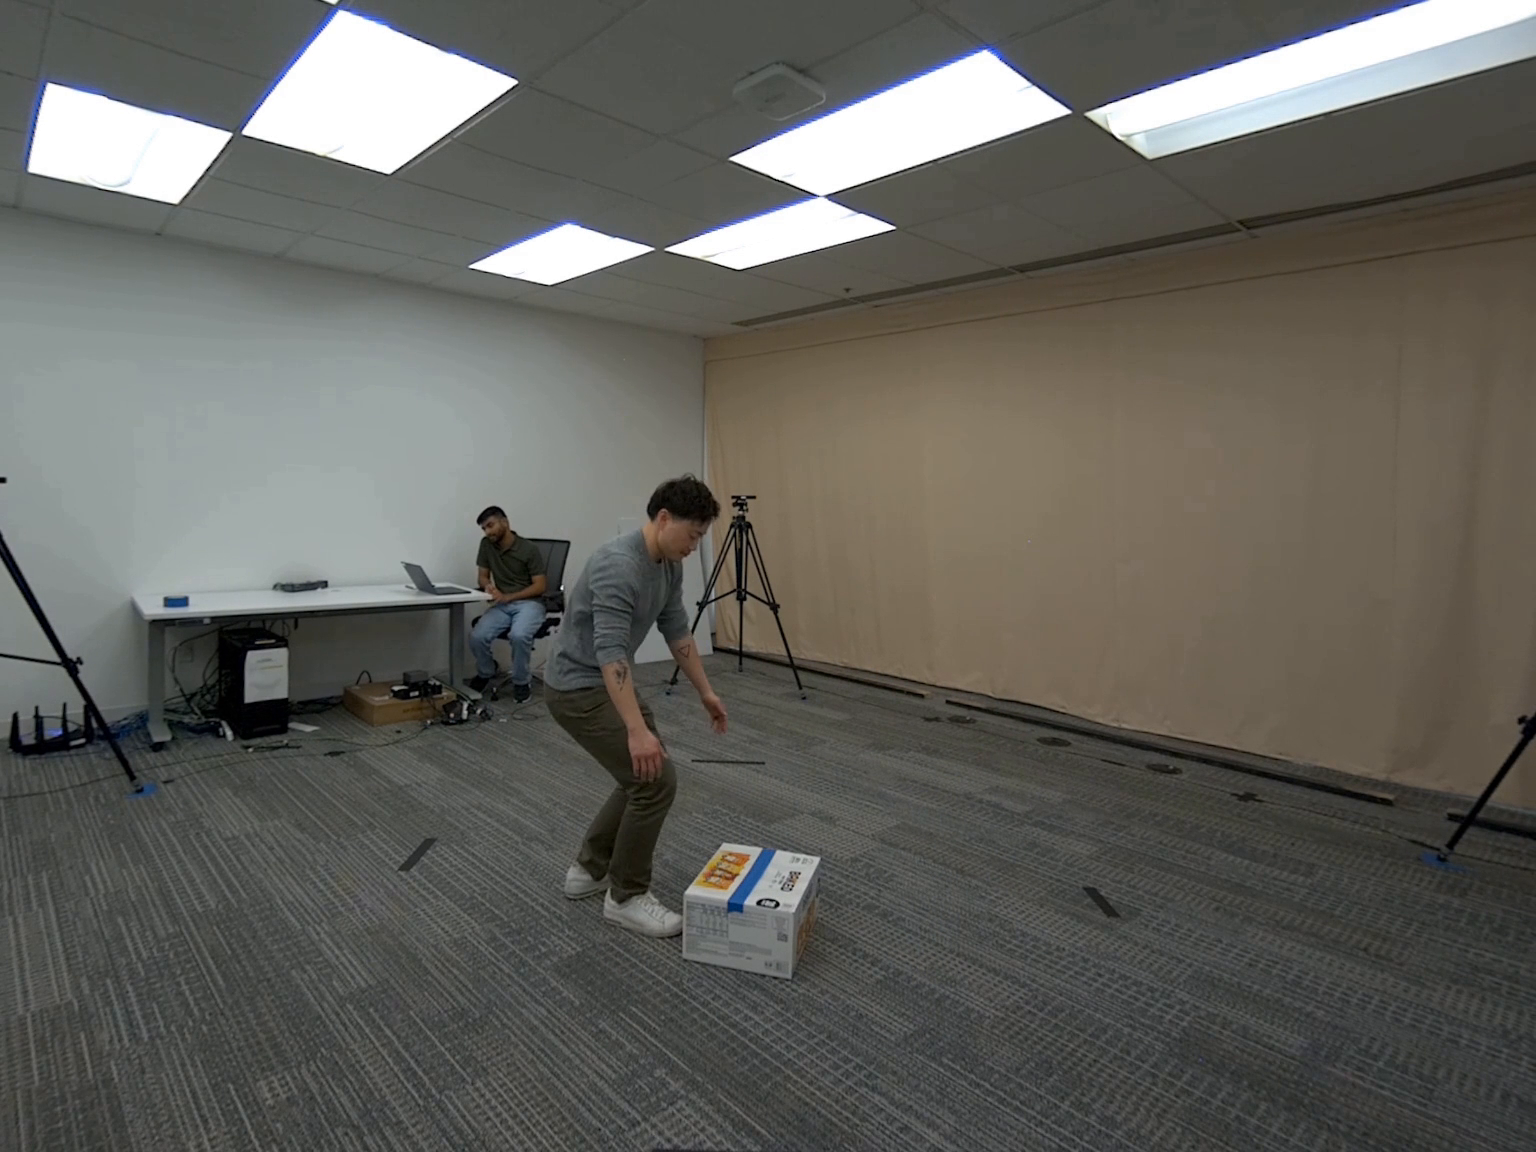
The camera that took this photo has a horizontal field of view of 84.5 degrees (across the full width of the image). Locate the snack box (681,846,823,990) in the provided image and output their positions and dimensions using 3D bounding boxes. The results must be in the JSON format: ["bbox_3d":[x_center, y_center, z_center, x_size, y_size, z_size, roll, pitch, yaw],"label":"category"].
[{"bbox_3d":[-0.040,1.050,2.651,0.345,0.205,0.401,2,5,16],"label":"snack box"}]
